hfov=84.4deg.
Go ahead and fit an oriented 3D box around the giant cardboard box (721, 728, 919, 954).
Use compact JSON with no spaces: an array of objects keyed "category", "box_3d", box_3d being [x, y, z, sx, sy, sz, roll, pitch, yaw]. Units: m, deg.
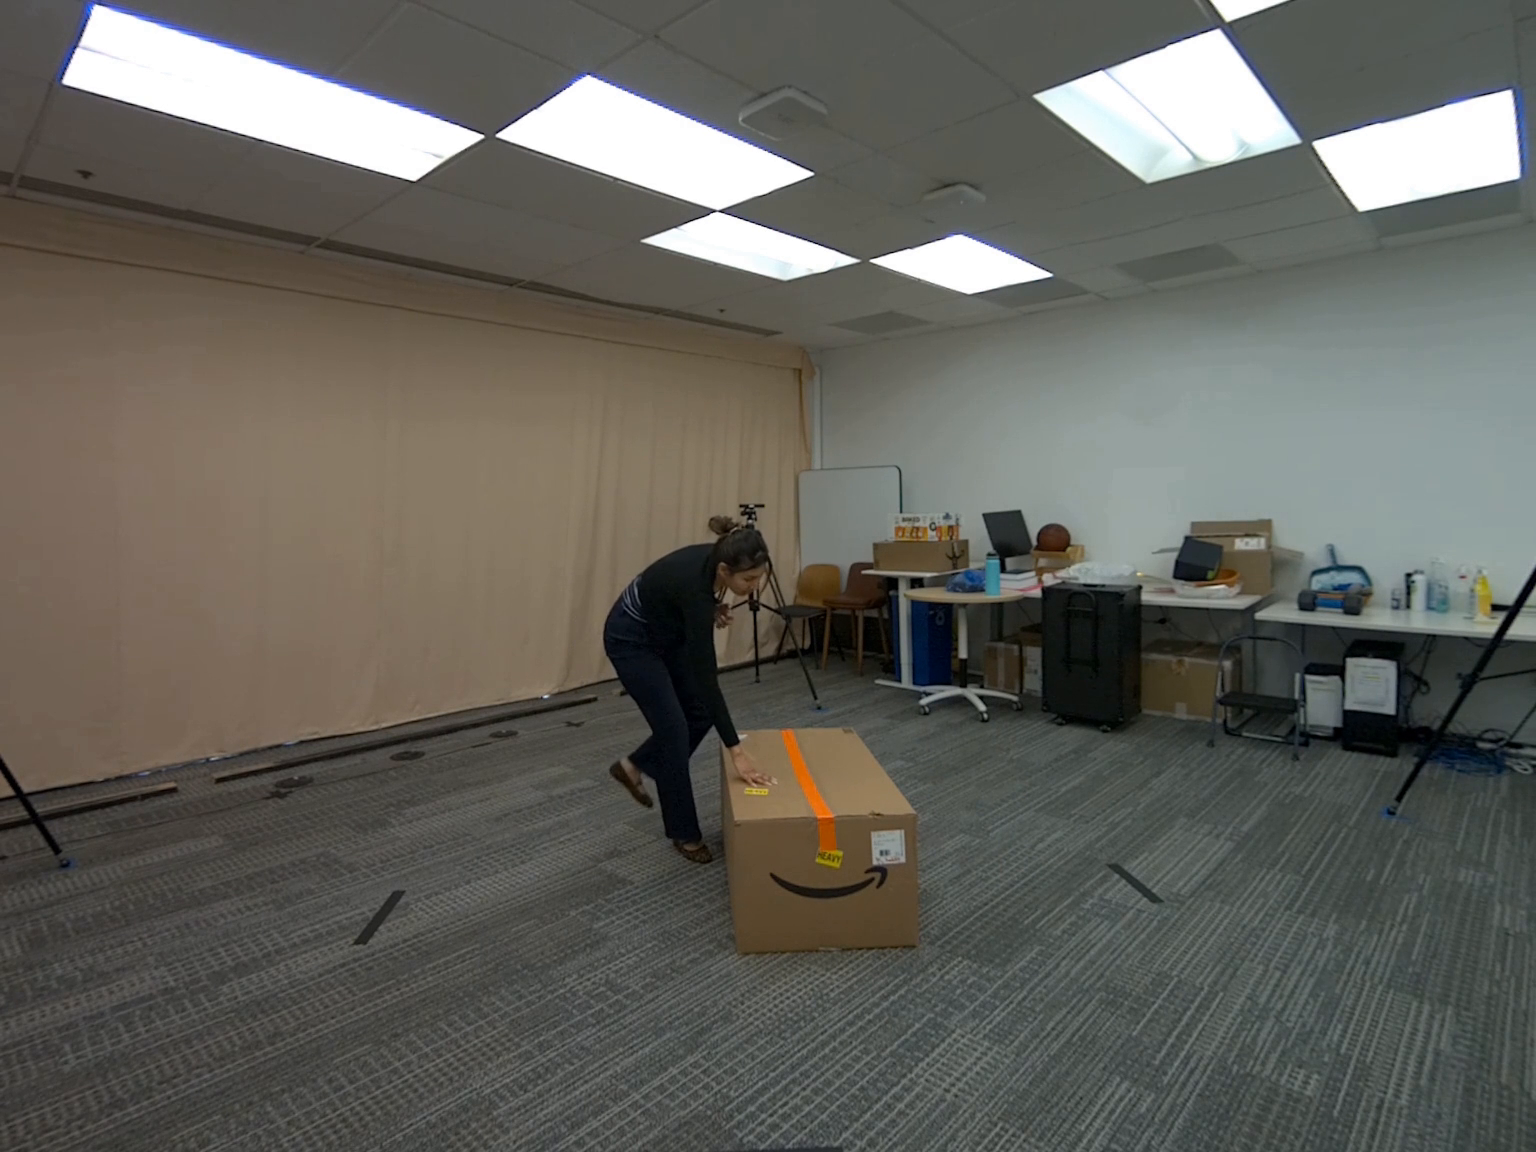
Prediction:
[{"category":"giant cardboard box","box_3d":[0.141,0.911,3.115,0.575,0.425,1.033,-2,5,-5]}]
